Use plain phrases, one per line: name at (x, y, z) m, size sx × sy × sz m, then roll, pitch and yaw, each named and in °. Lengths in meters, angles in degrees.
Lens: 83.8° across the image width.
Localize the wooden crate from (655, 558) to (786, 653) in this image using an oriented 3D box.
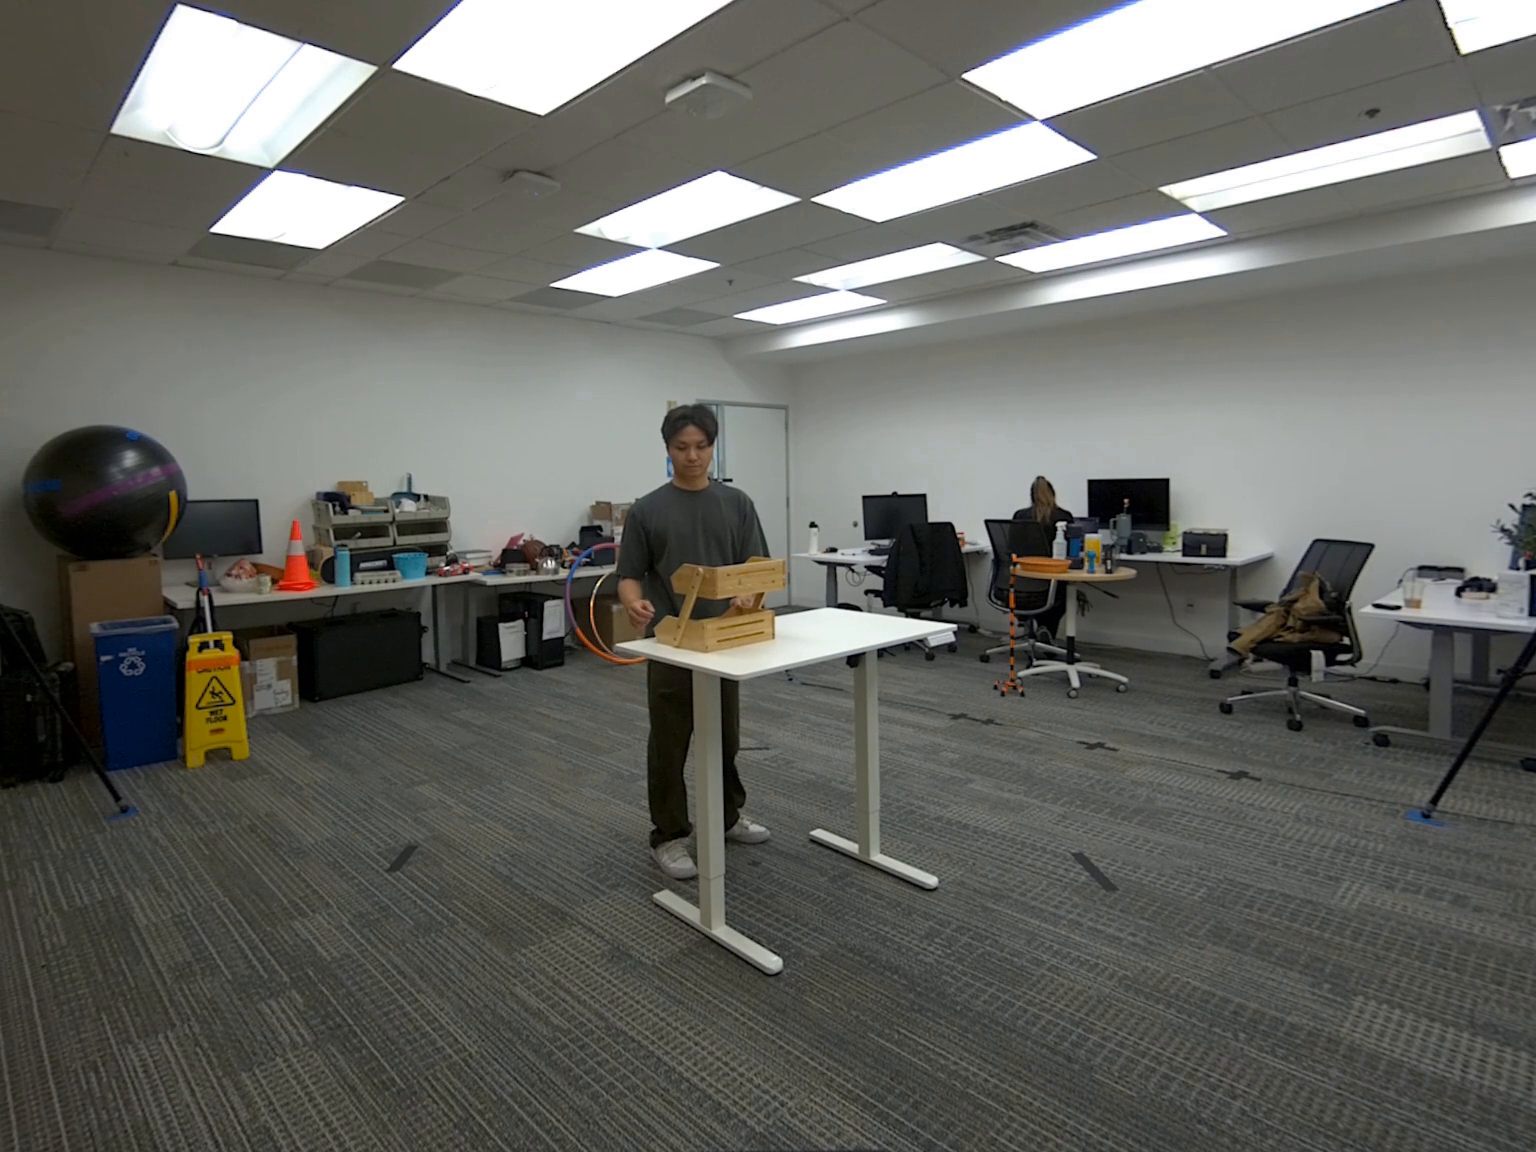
wooden crate at (-0.157, 0.080, 2.716) m, size 0.316 × 0.272 × 0.311 m, roll -7°, pitch 8°, yaw -44°
